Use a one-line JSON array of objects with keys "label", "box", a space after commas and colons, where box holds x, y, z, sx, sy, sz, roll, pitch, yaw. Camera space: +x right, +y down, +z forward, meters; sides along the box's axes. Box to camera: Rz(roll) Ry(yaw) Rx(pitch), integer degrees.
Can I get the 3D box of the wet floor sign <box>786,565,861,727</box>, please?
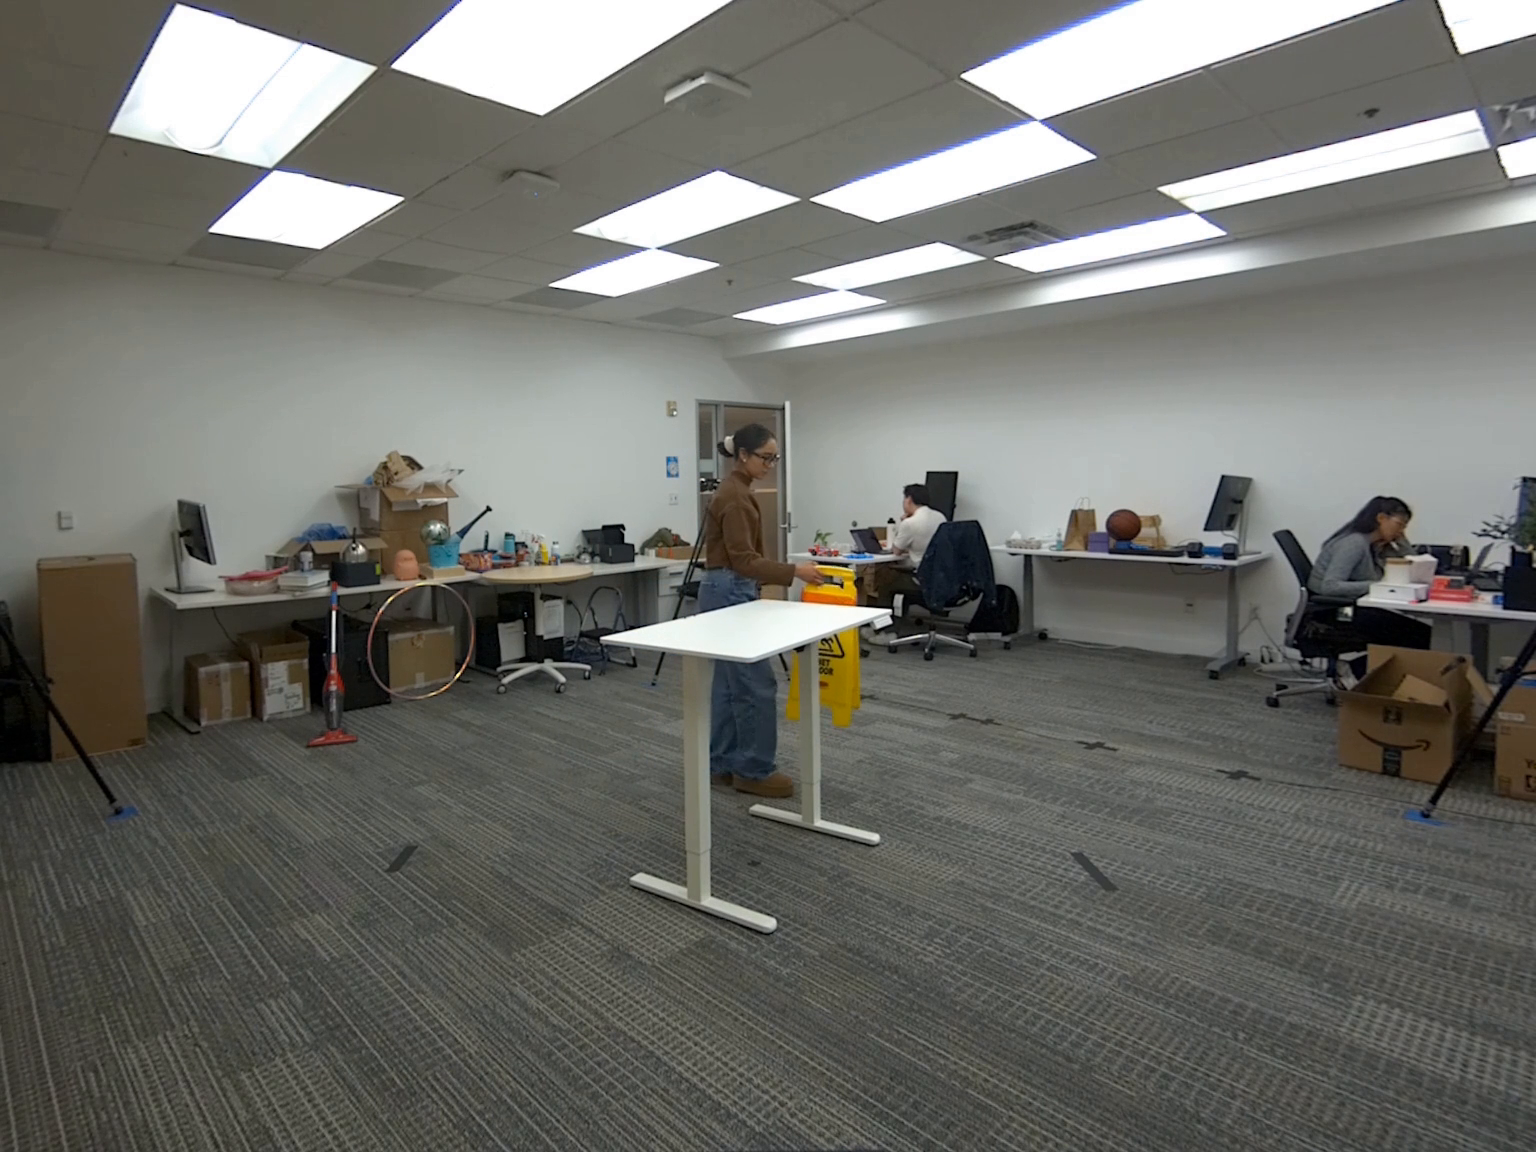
[{"label": "wet floor sign", "box": [0.253, 0.285, 3.711, 0.287, 0.642, 0.287, 4, 7, 15]}]
